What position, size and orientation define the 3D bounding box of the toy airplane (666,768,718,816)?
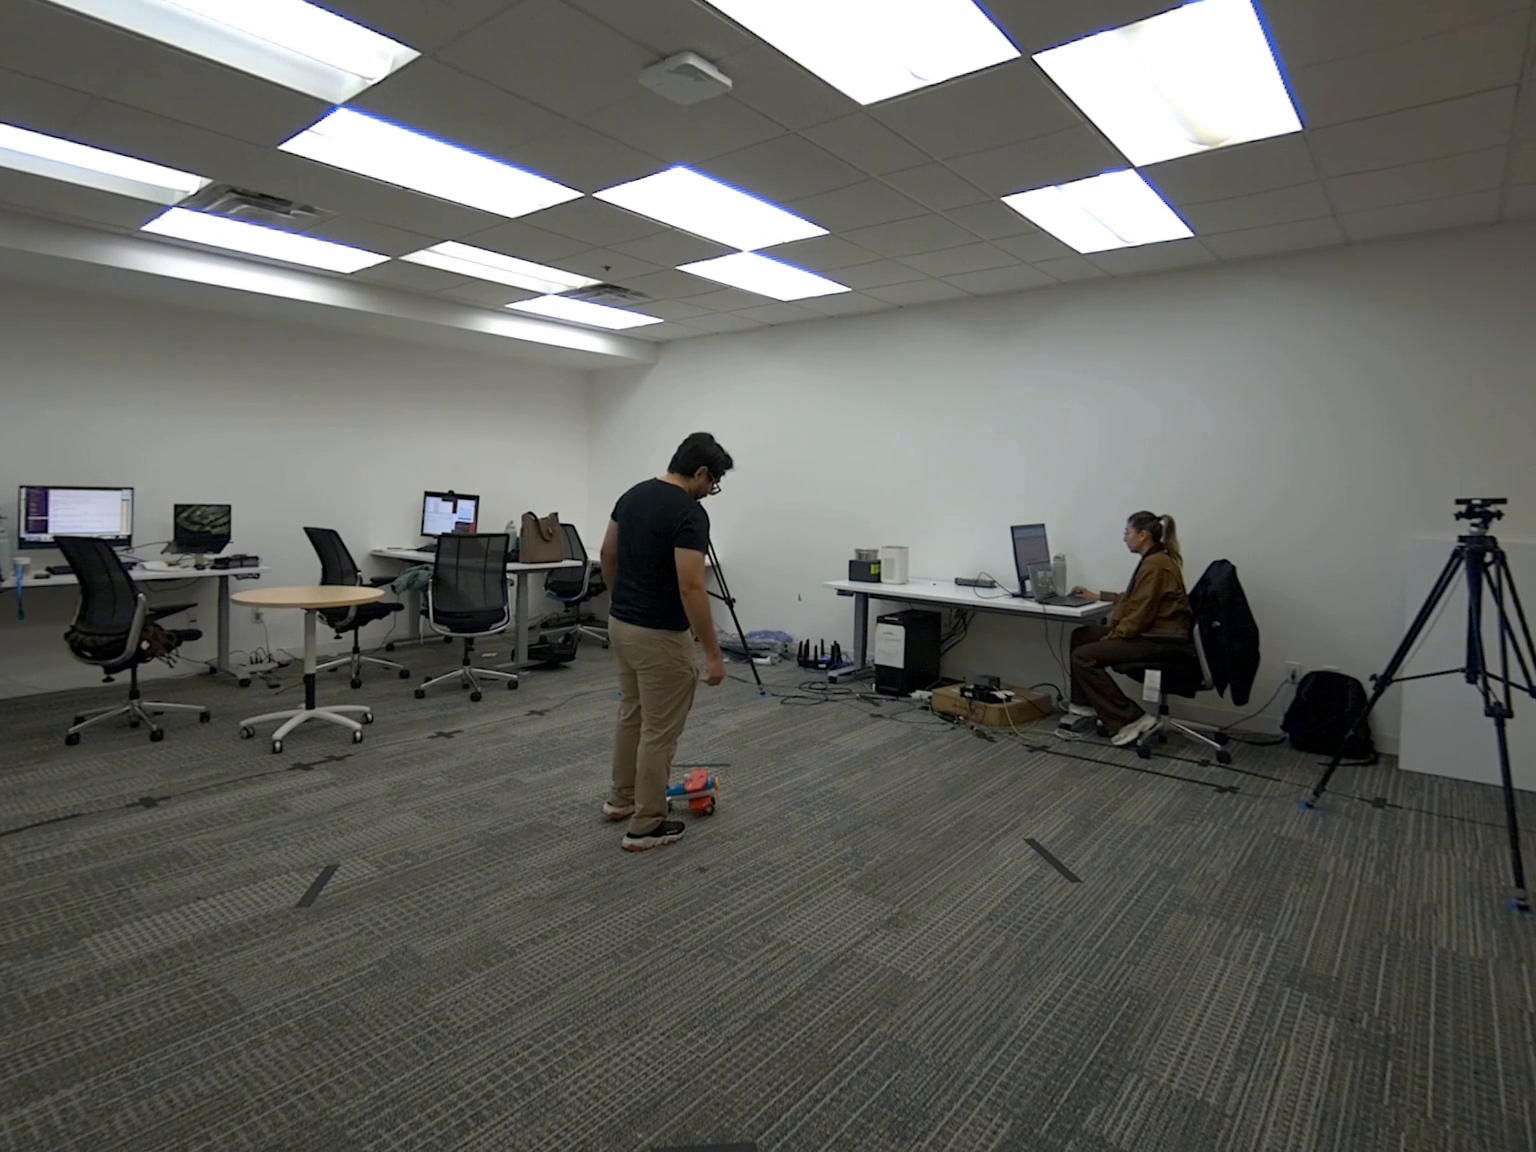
[{"bbox_3d":[-0.350,0.944,3.654,0.253,0.156,0.258,1,6,-27],"label":"toy airplane"}]
